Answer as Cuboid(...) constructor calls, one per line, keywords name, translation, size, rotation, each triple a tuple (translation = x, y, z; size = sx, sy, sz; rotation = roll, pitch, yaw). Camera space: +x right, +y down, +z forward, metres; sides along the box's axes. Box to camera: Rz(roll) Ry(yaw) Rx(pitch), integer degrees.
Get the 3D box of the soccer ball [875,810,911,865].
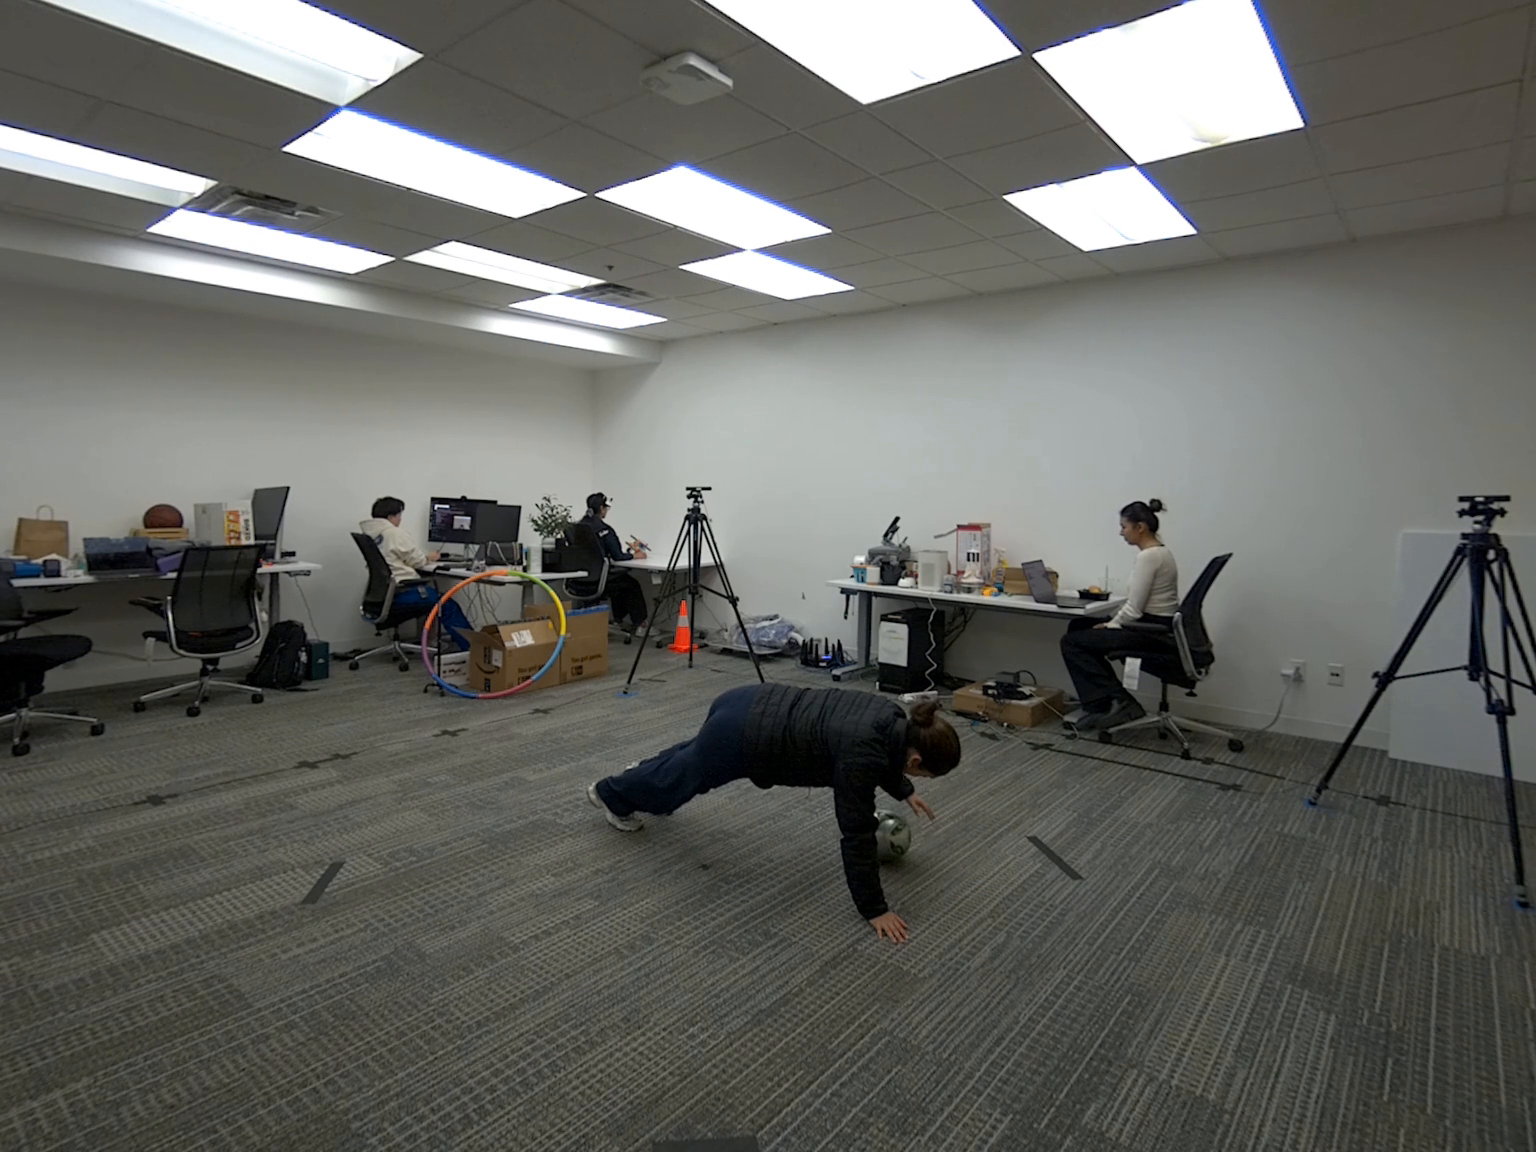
Cuboid(name="soccer ball", translation=(0.437, 0.979, 3.214), size=(0.187, 0.187, 0.188), rotation=(1, 4, -2))
